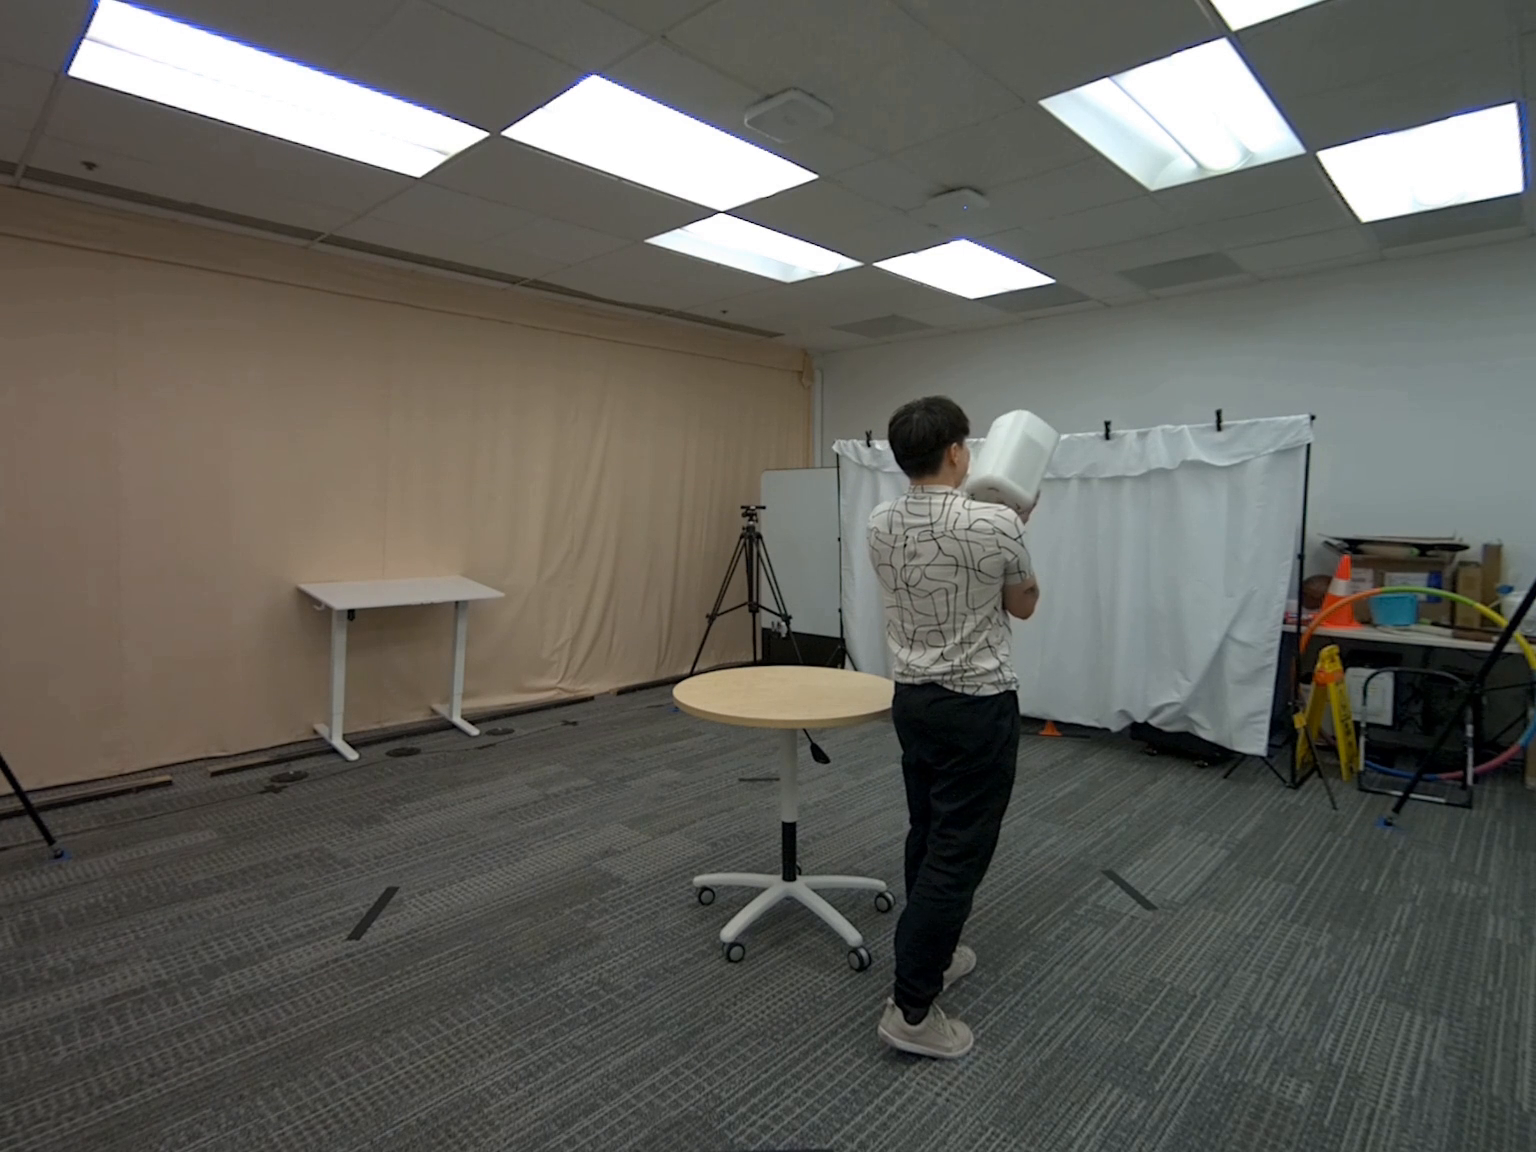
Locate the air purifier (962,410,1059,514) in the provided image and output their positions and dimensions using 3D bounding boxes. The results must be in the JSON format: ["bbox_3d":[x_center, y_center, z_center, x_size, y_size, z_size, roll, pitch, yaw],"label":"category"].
[{"bbox_3d":[0.723,-0.324,2.460,0.169,0.265,0.174,32,-20,-14],"label":"air purifier"}]
